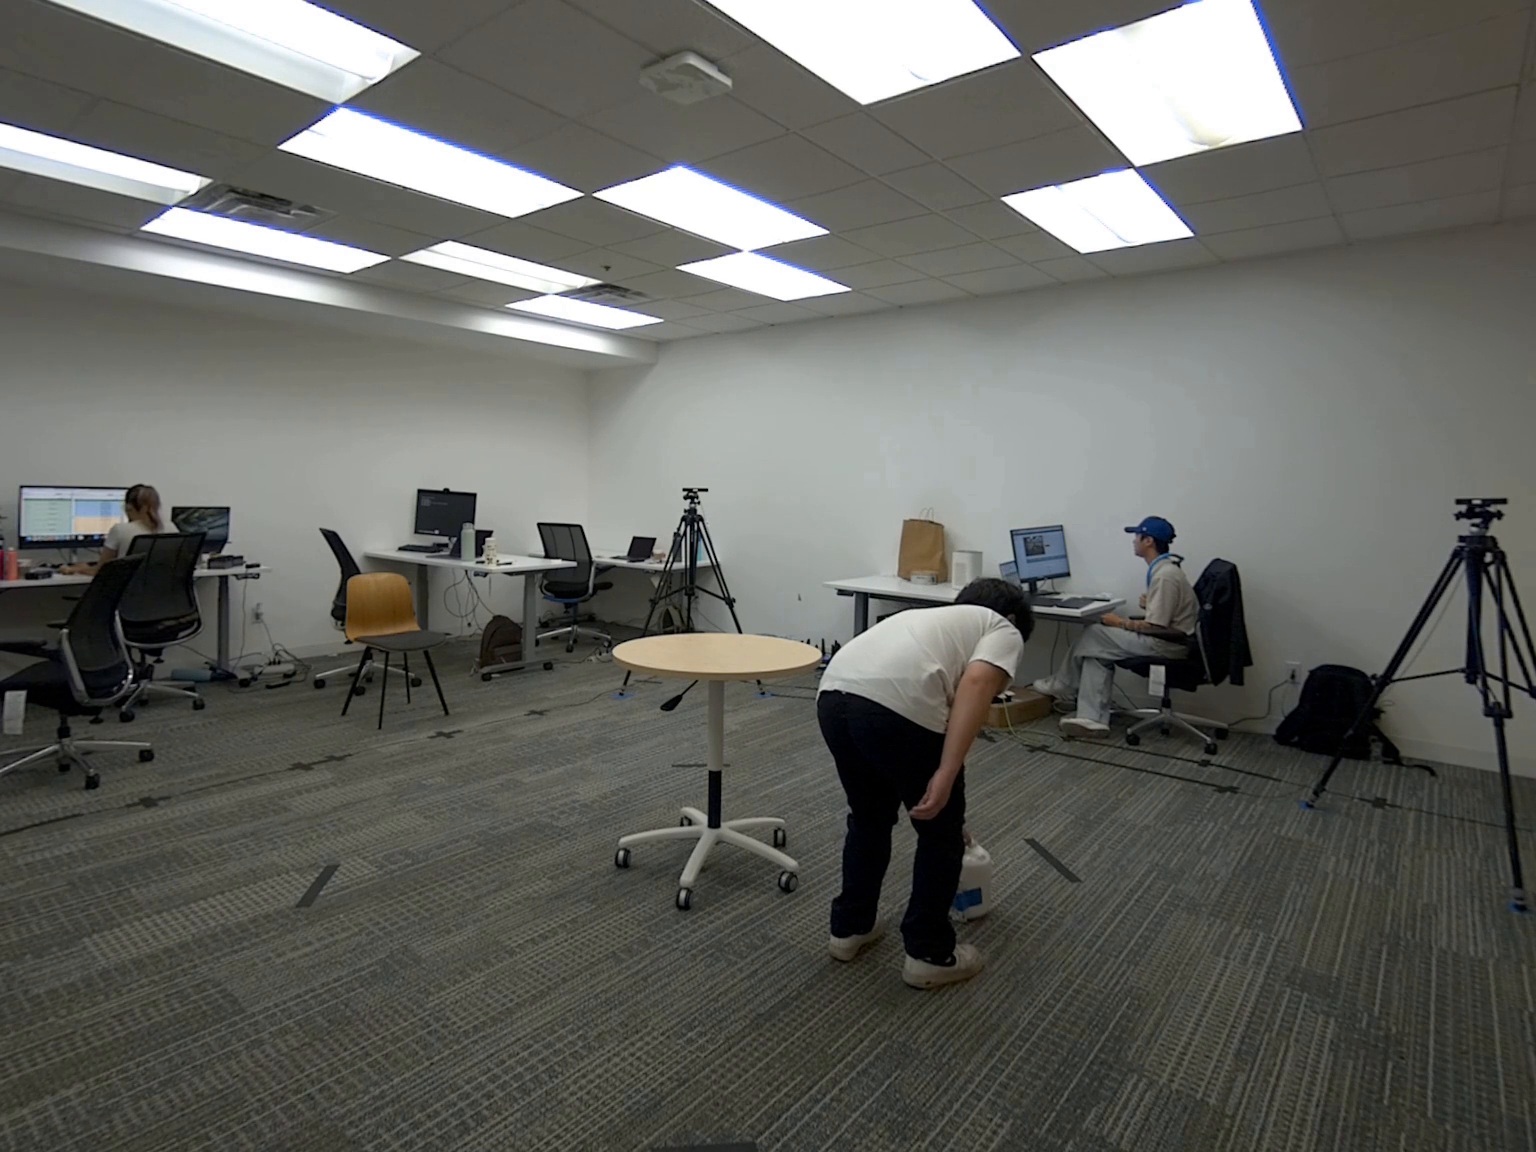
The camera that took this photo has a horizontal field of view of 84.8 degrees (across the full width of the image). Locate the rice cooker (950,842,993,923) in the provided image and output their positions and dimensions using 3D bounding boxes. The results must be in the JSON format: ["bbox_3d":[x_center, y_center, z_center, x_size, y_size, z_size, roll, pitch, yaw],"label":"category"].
[{"bbox_3d":[0.636,0.997,2.868,0.214,0.232,0.224,-2,5,-32],"label":"rice cooker"}]
